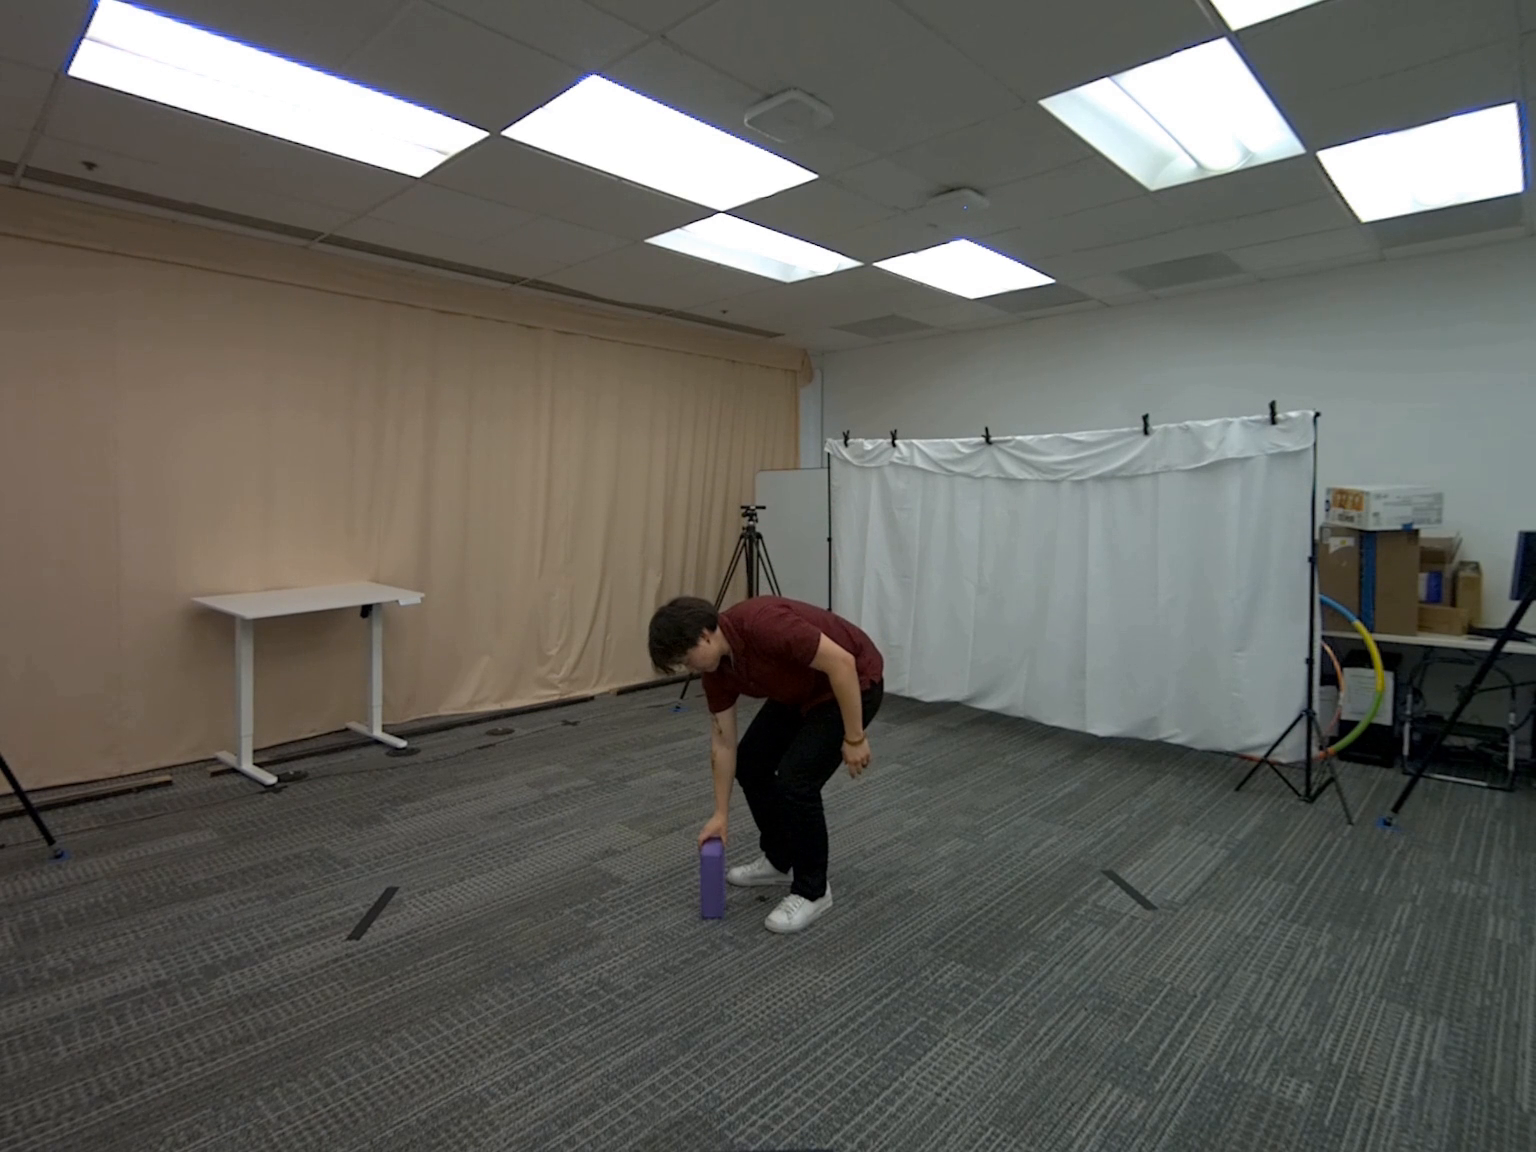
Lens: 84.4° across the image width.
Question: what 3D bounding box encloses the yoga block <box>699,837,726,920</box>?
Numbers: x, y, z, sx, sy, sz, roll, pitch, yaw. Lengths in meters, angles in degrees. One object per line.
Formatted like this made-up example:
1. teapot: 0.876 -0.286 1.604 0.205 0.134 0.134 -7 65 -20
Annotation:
1. yoga block: -0.191 1.035 2.897 0.077 0.229 0.149 -1 1 1
